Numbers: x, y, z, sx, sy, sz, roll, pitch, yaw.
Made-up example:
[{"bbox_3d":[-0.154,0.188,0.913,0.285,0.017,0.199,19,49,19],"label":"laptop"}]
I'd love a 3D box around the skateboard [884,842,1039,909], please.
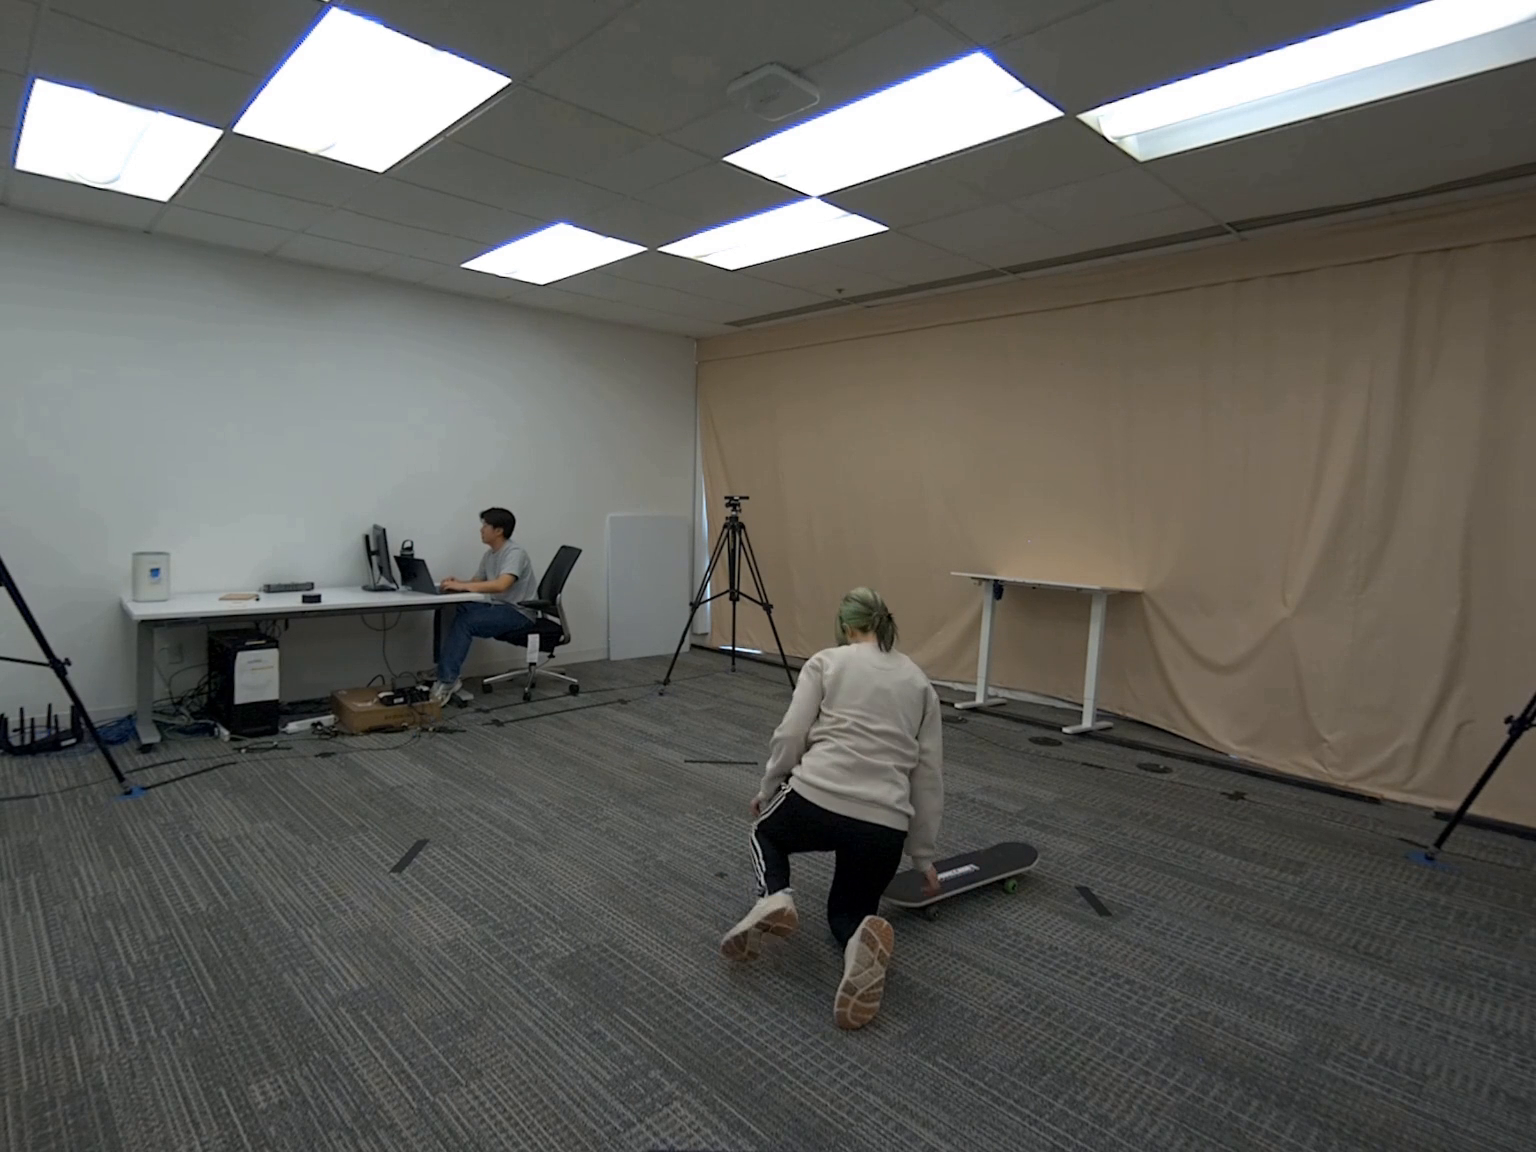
[{"bbox_3d":[0.666,1.082,2.972,0.769,0.110,0.198,-2,6,-33],"label":"skateboard"}]
